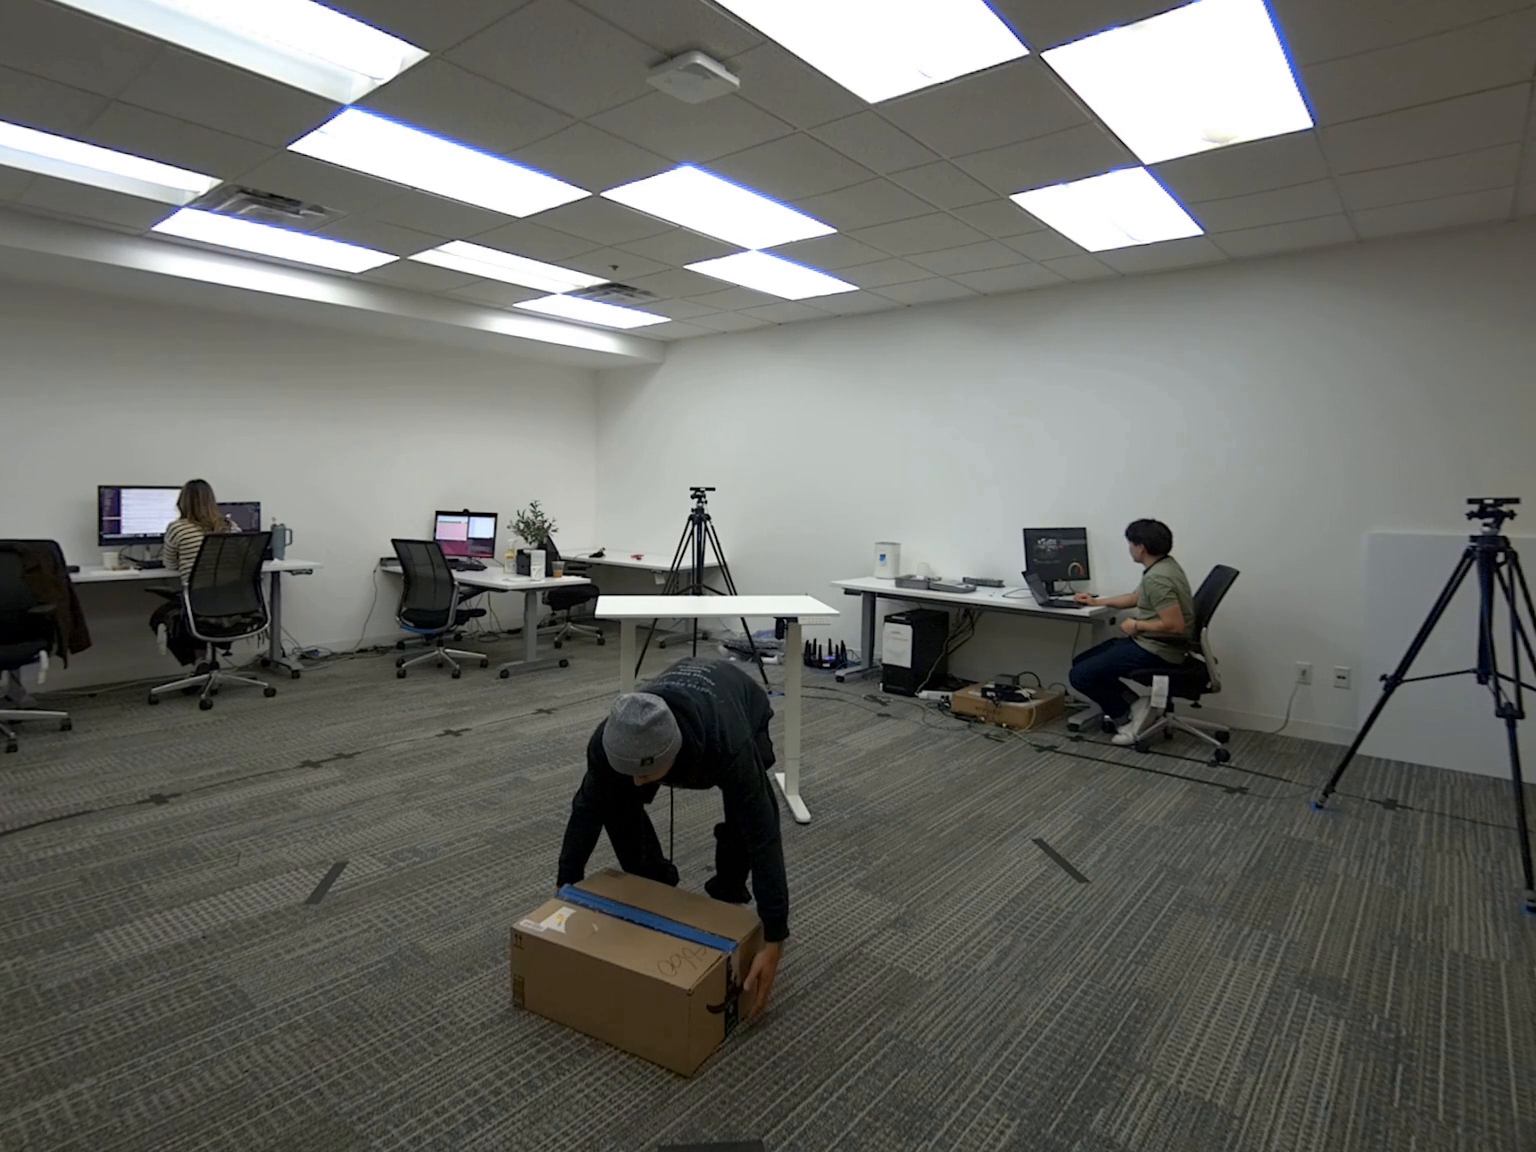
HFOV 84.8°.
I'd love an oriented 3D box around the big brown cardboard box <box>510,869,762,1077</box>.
[{"bbox_3d":[-0.354,1.035,2.310,0.606,0.232,0.408,5,8,28],"label":"big brown cardboard box"}]
